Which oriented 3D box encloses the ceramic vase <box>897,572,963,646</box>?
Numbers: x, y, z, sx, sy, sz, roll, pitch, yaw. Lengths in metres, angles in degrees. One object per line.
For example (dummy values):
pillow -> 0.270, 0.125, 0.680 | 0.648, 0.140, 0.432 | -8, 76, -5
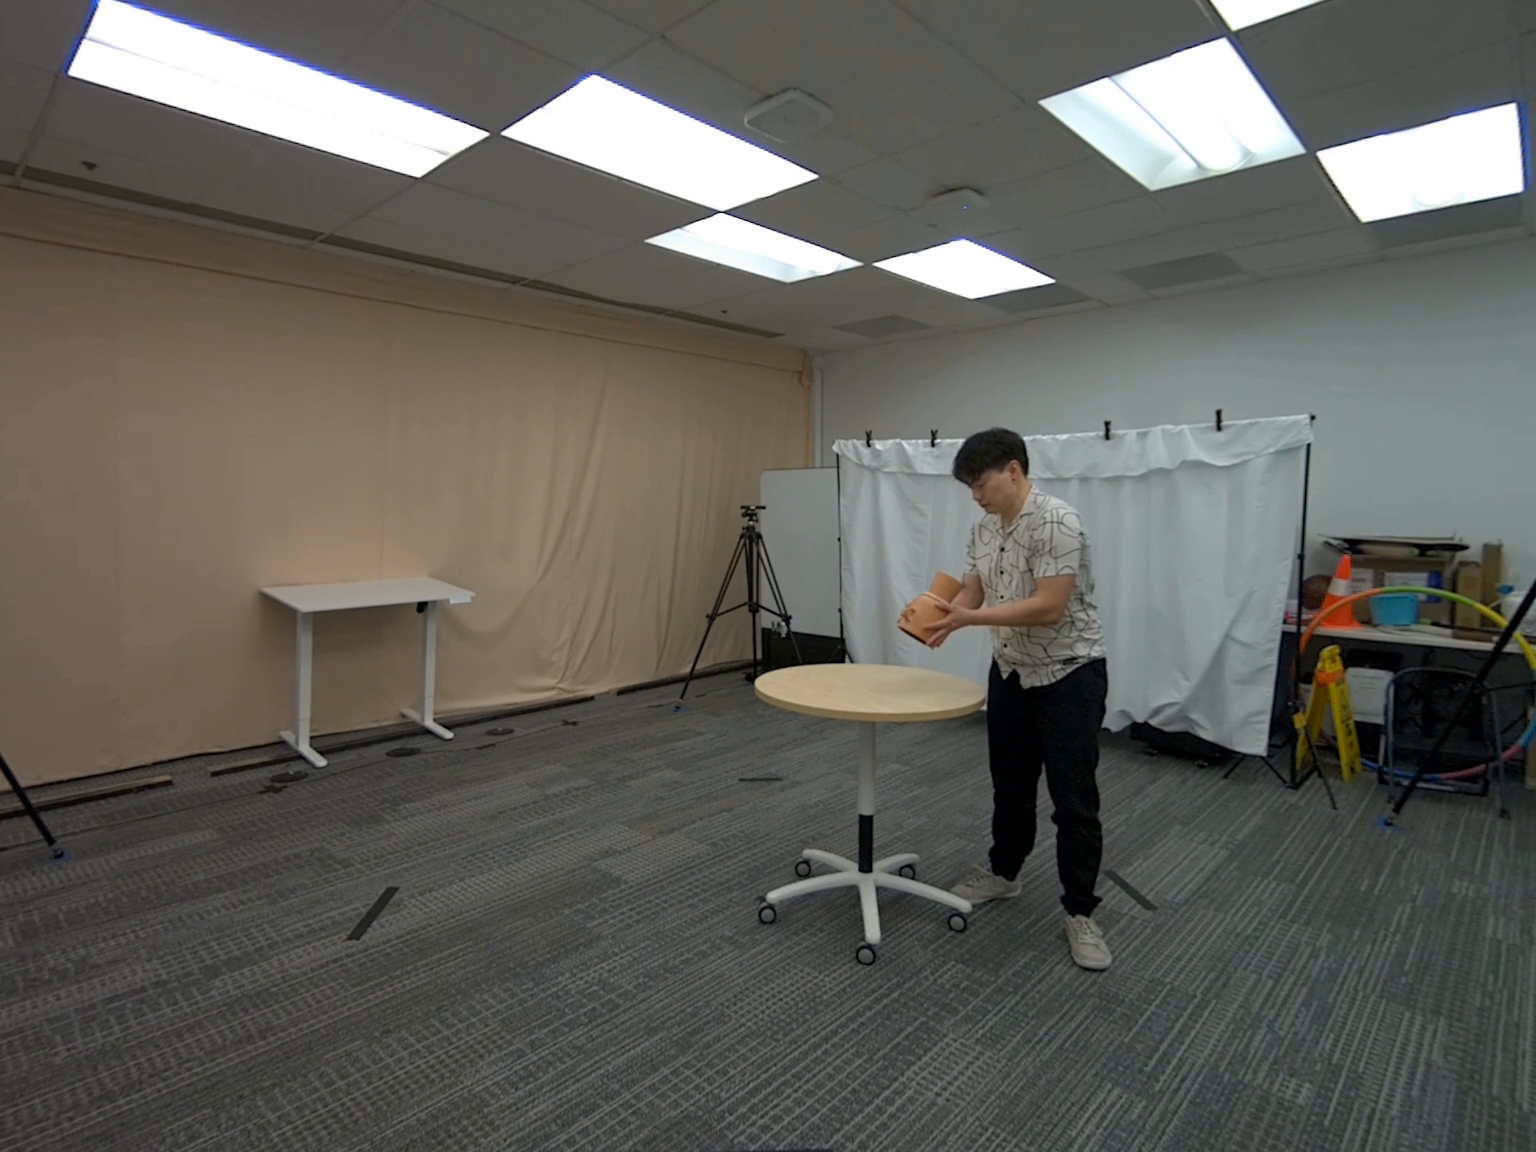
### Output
ceramic vase -> 0.538, 0.105, 2.693 | 0.137, 0.219, 0.156 | 31, -6, 14
